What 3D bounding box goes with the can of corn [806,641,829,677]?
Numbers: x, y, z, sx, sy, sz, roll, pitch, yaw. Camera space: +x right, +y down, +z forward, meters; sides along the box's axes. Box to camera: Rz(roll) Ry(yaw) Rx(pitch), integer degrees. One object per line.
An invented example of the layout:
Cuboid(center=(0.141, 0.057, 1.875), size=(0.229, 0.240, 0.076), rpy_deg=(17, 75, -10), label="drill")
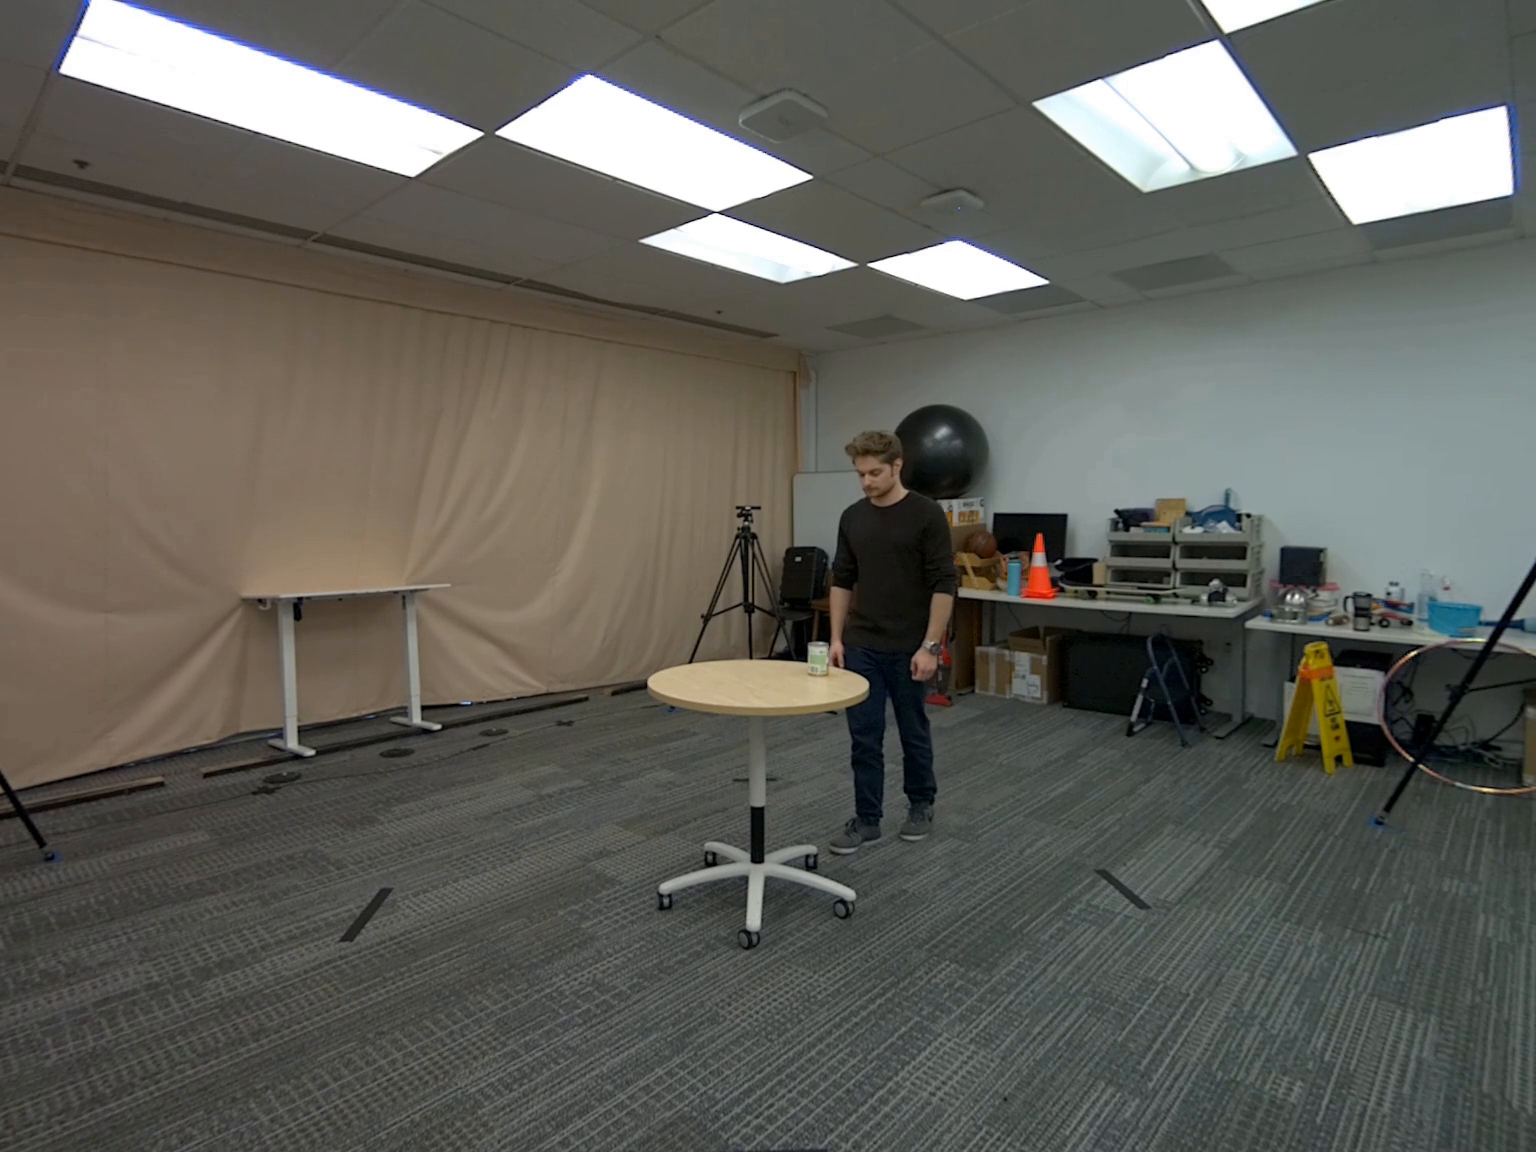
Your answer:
Cuboid(center=(0.188, 0.300, 3.026), size=(0.074, 0.111, 0.074), rpy_deg=(3, 3, -2), label="can of corn")
